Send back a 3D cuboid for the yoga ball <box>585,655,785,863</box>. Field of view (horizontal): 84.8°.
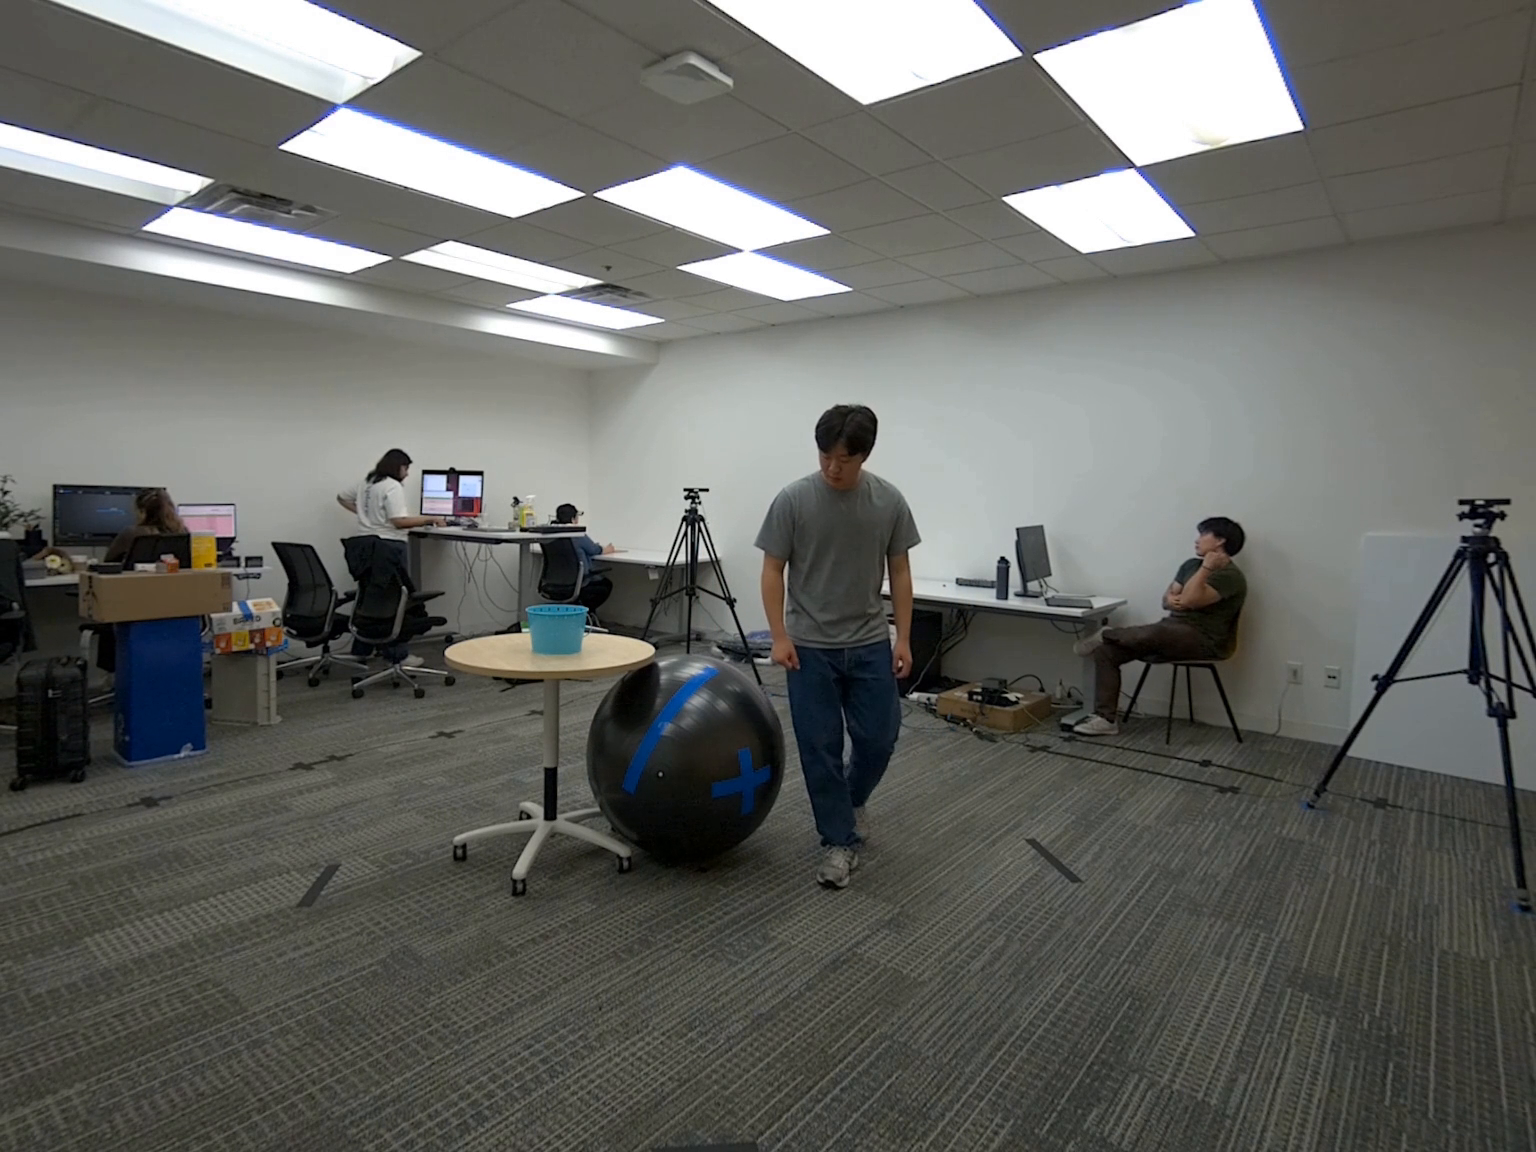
[{"bbox_3d":[-0.326,0.680,3.262,0.757,0.755,0.762,1,4,-2],"label":"yoga ball"}]
